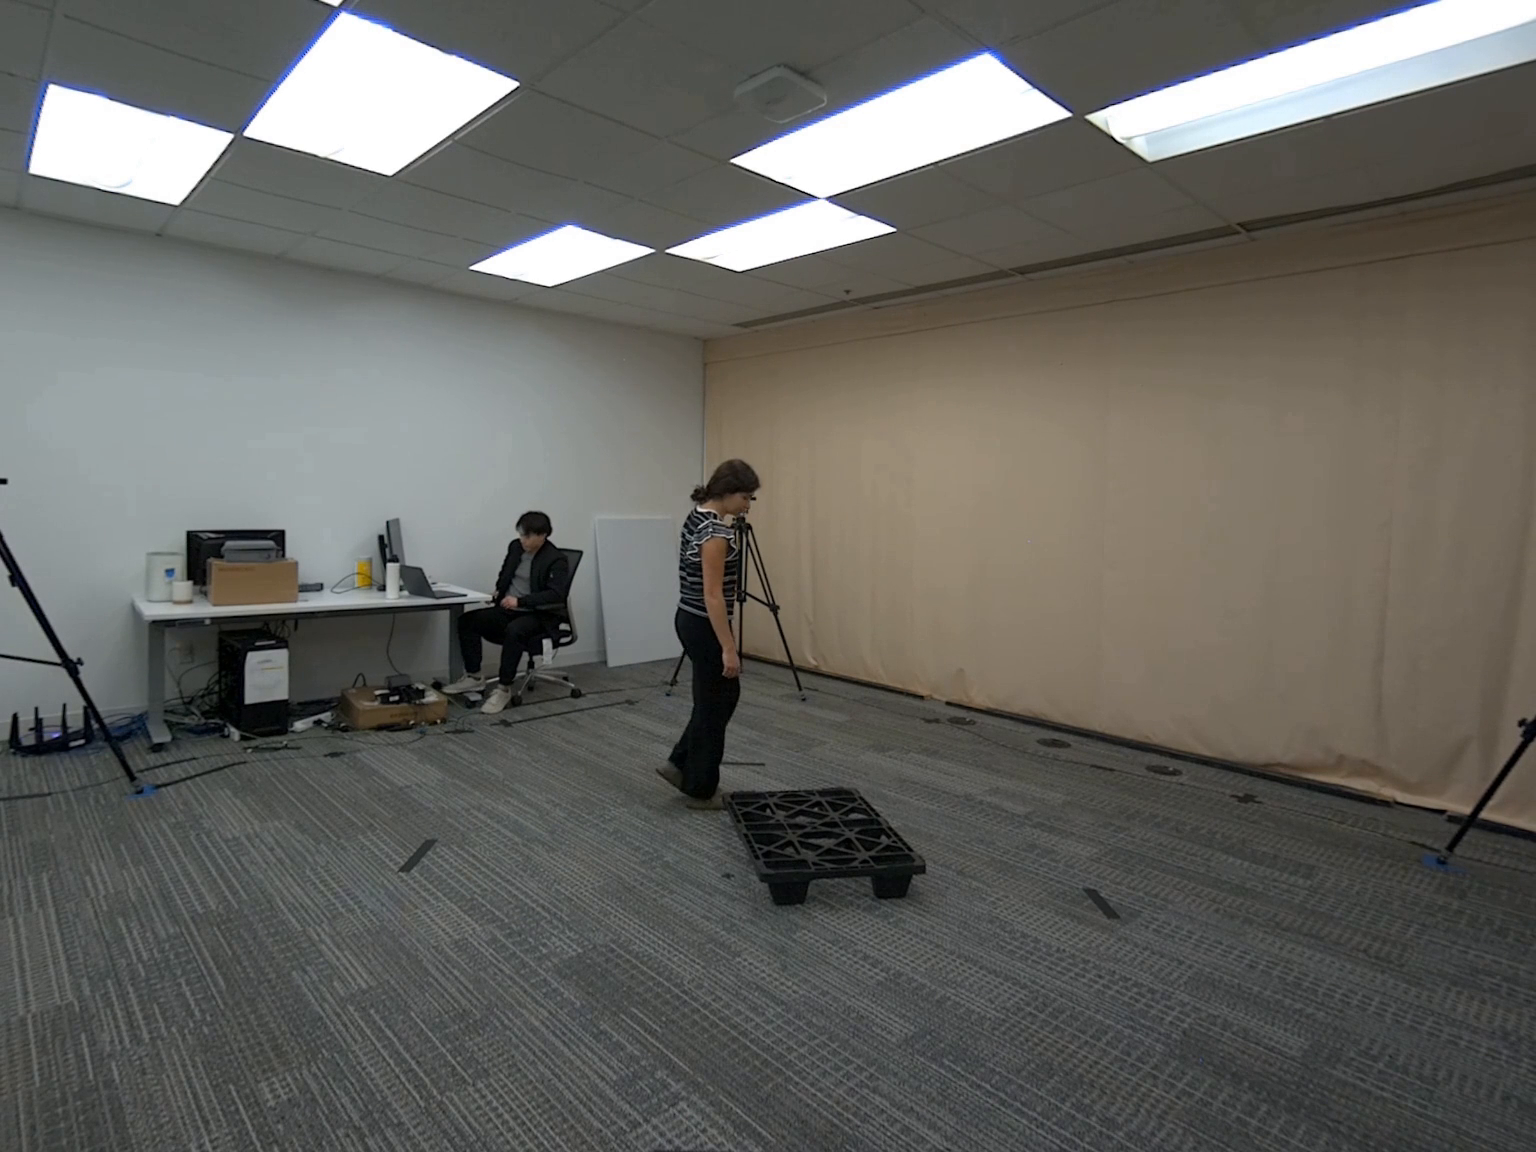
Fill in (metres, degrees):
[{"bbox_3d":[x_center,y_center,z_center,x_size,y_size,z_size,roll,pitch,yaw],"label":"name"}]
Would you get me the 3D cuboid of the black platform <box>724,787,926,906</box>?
[{"bbox_3d":[0.171,1.032,3.275,0.599,0.143,0.815,1,5,-12],"label":"black platform"}]
